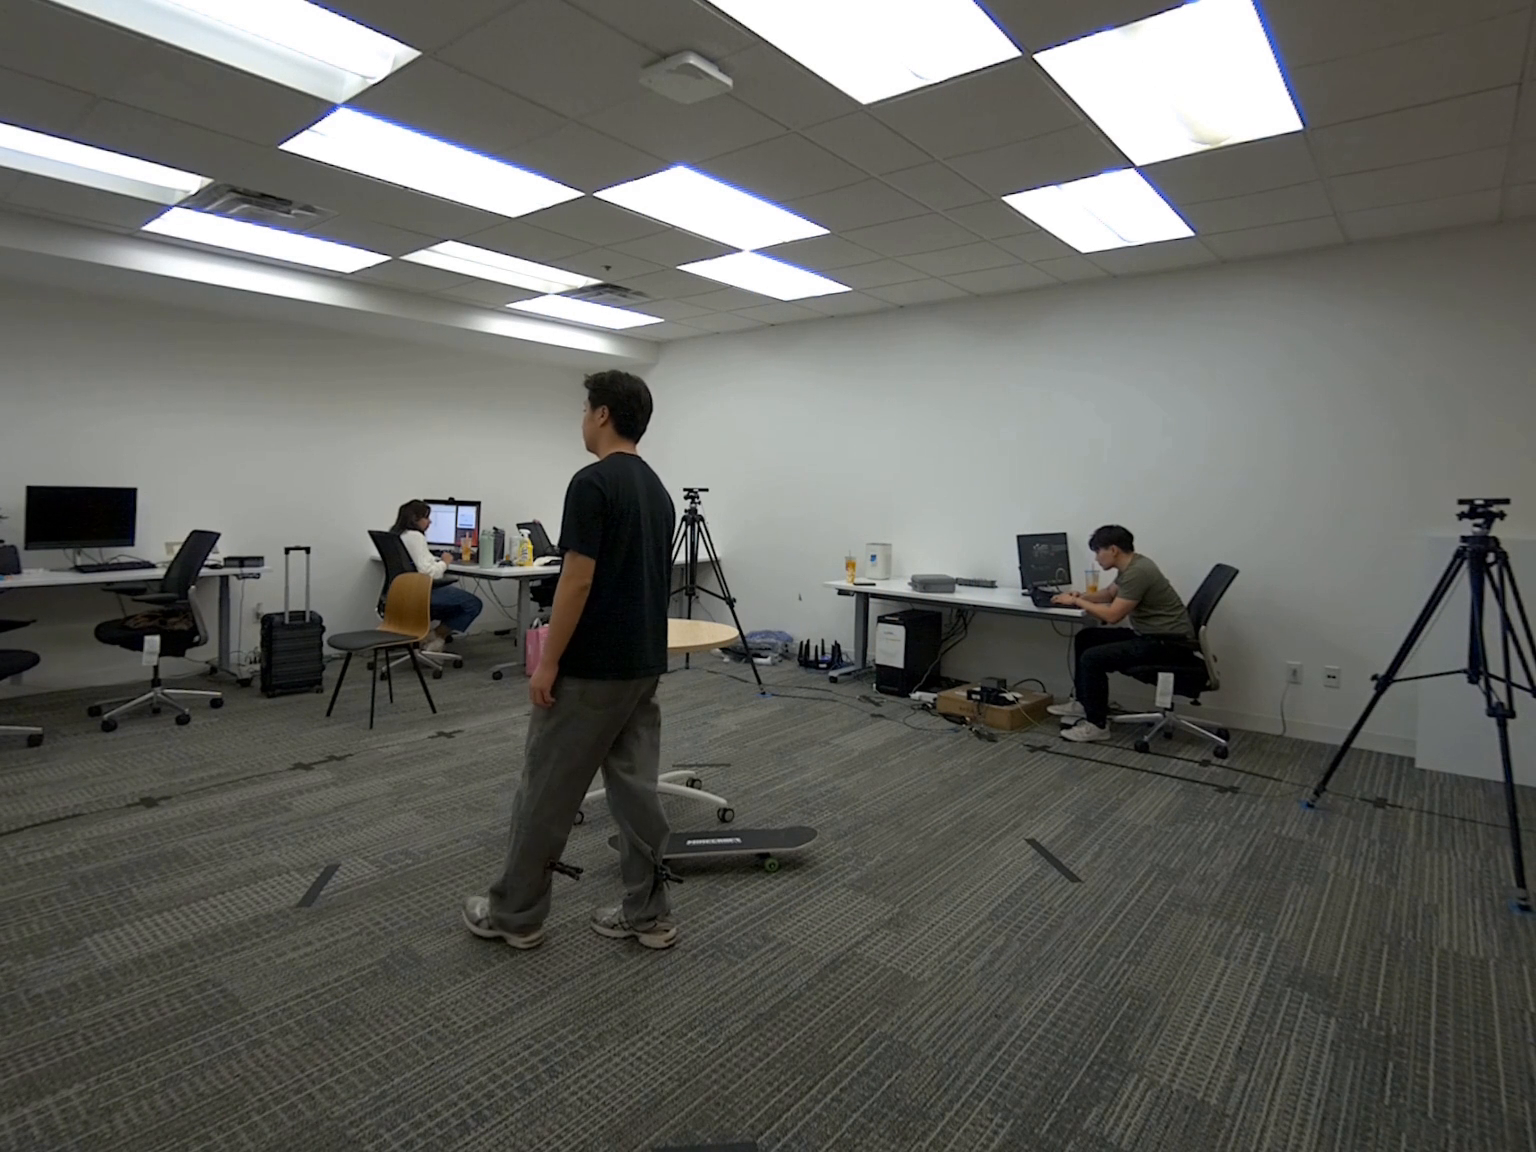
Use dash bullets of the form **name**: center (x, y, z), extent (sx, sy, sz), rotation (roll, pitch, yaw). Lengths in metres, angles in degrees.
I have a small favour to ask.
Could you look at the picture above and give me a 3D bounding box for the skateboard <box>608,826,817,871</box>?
- **skateboard**: center (-0.206, 1.011, 3.143), extent (0.776, 0.110, 0.196), rotation (0, 5, -11)
